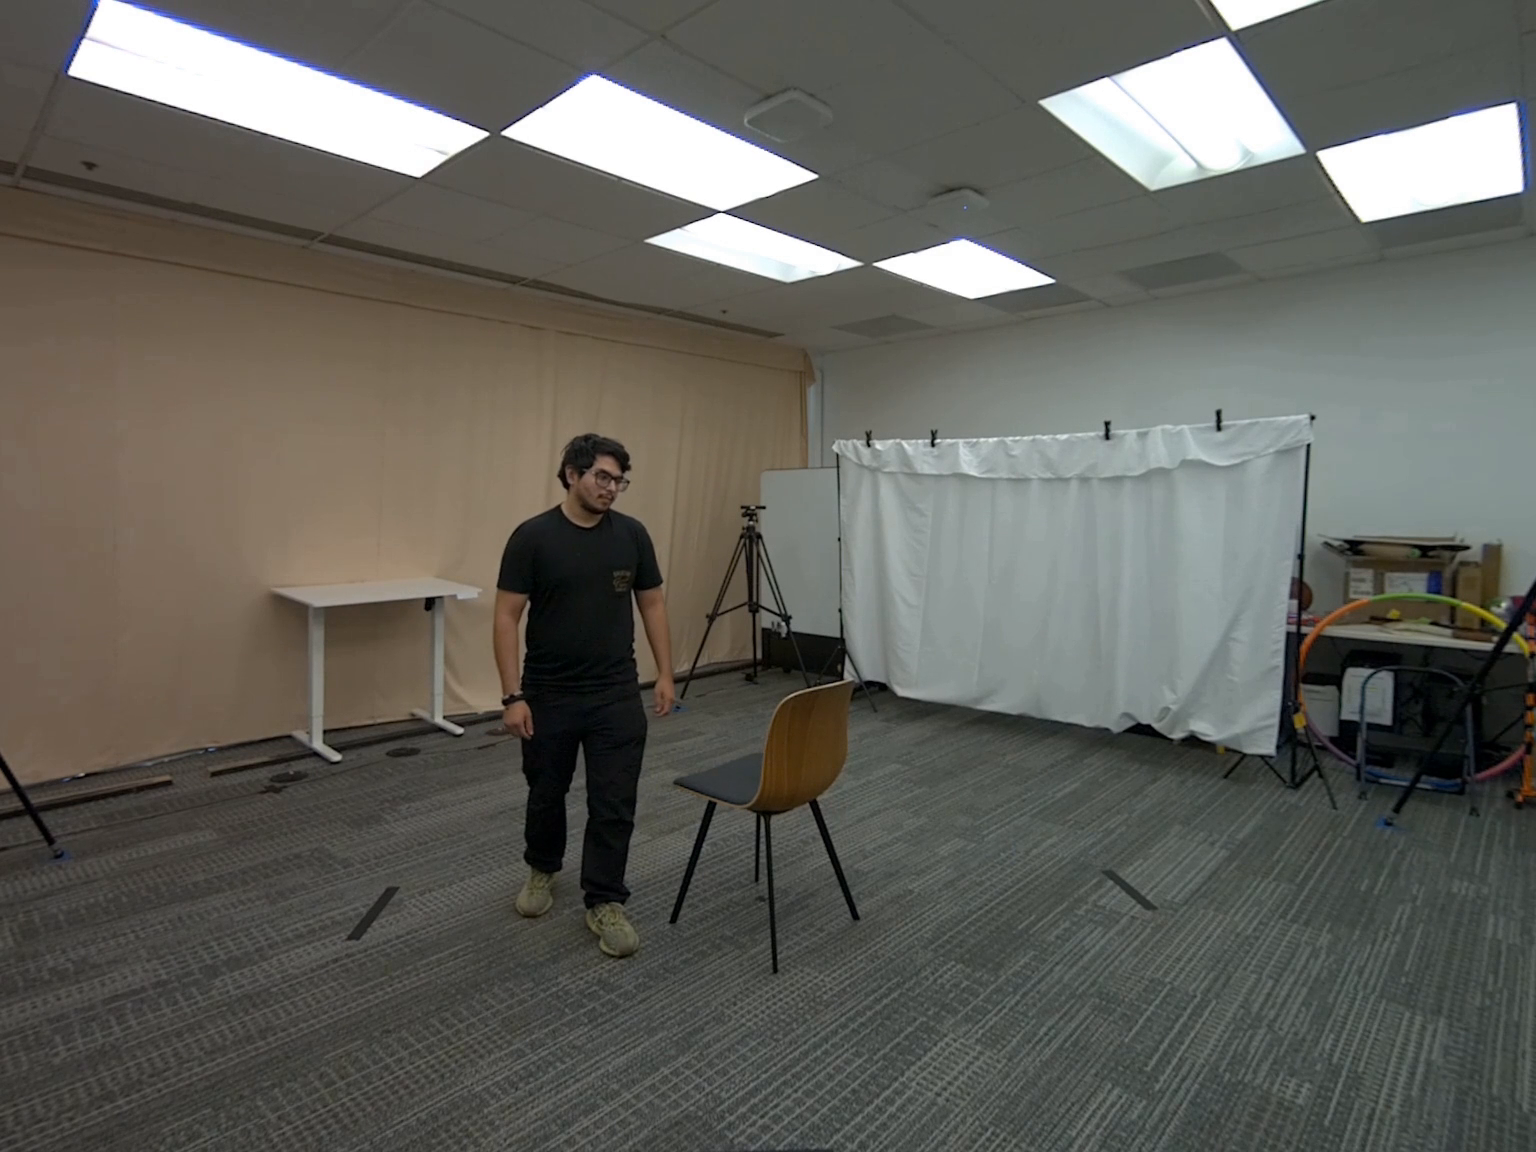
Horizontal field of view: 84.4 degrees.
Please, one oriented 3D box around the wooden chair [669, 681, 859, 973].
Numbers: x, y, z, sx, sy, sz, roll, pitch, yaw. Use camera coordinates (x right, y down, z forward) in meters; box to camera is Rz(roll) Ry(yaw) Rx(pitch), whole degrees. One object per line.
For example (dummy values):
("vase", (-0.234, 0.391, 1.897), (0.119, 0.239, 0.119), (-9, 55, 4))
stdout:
("wooden chair", (-0.016, 0.732, 2.790), (0.541, 0.874, 0.463), (9, 9, 41))
